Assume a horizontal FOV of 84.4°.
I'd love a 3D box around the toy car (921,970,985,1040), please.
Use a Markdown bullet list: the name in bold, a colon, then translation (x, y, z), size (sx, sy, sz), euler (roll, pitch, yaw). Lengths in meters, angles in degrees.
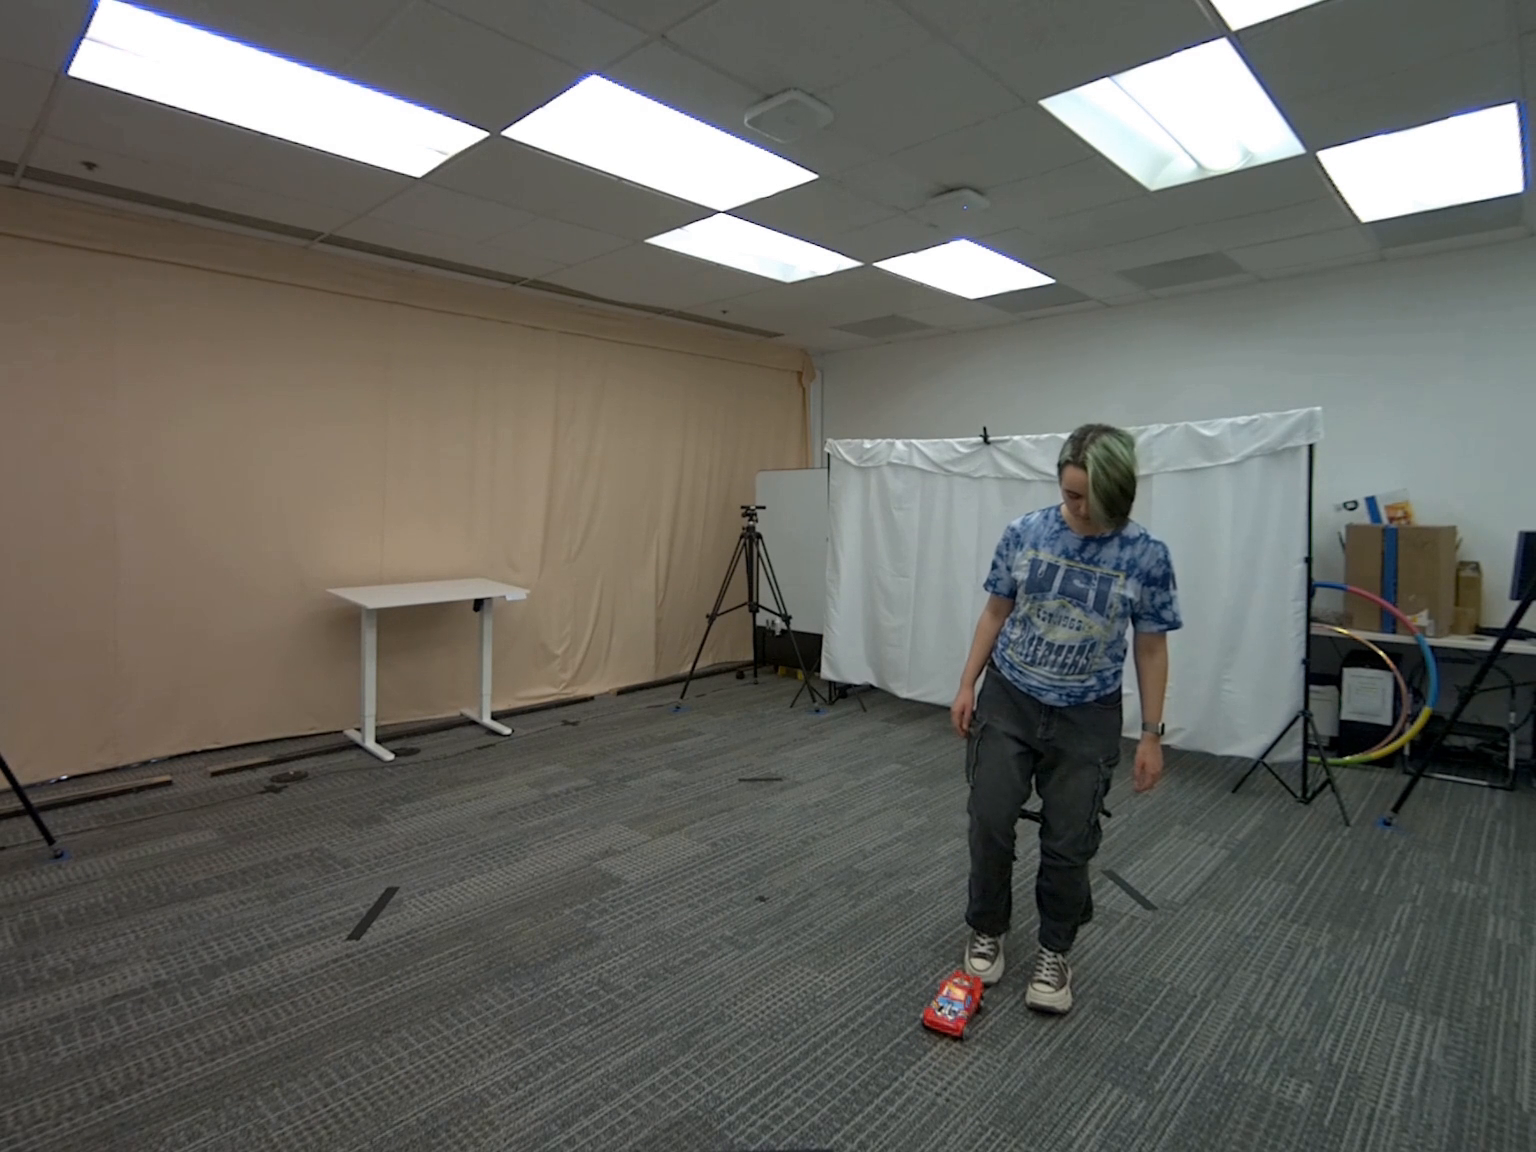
- **toy car**: translation (0.517, 1.171, 2.298), size (0.134, 0.082, 0.249), euler (3, 16, 31)
